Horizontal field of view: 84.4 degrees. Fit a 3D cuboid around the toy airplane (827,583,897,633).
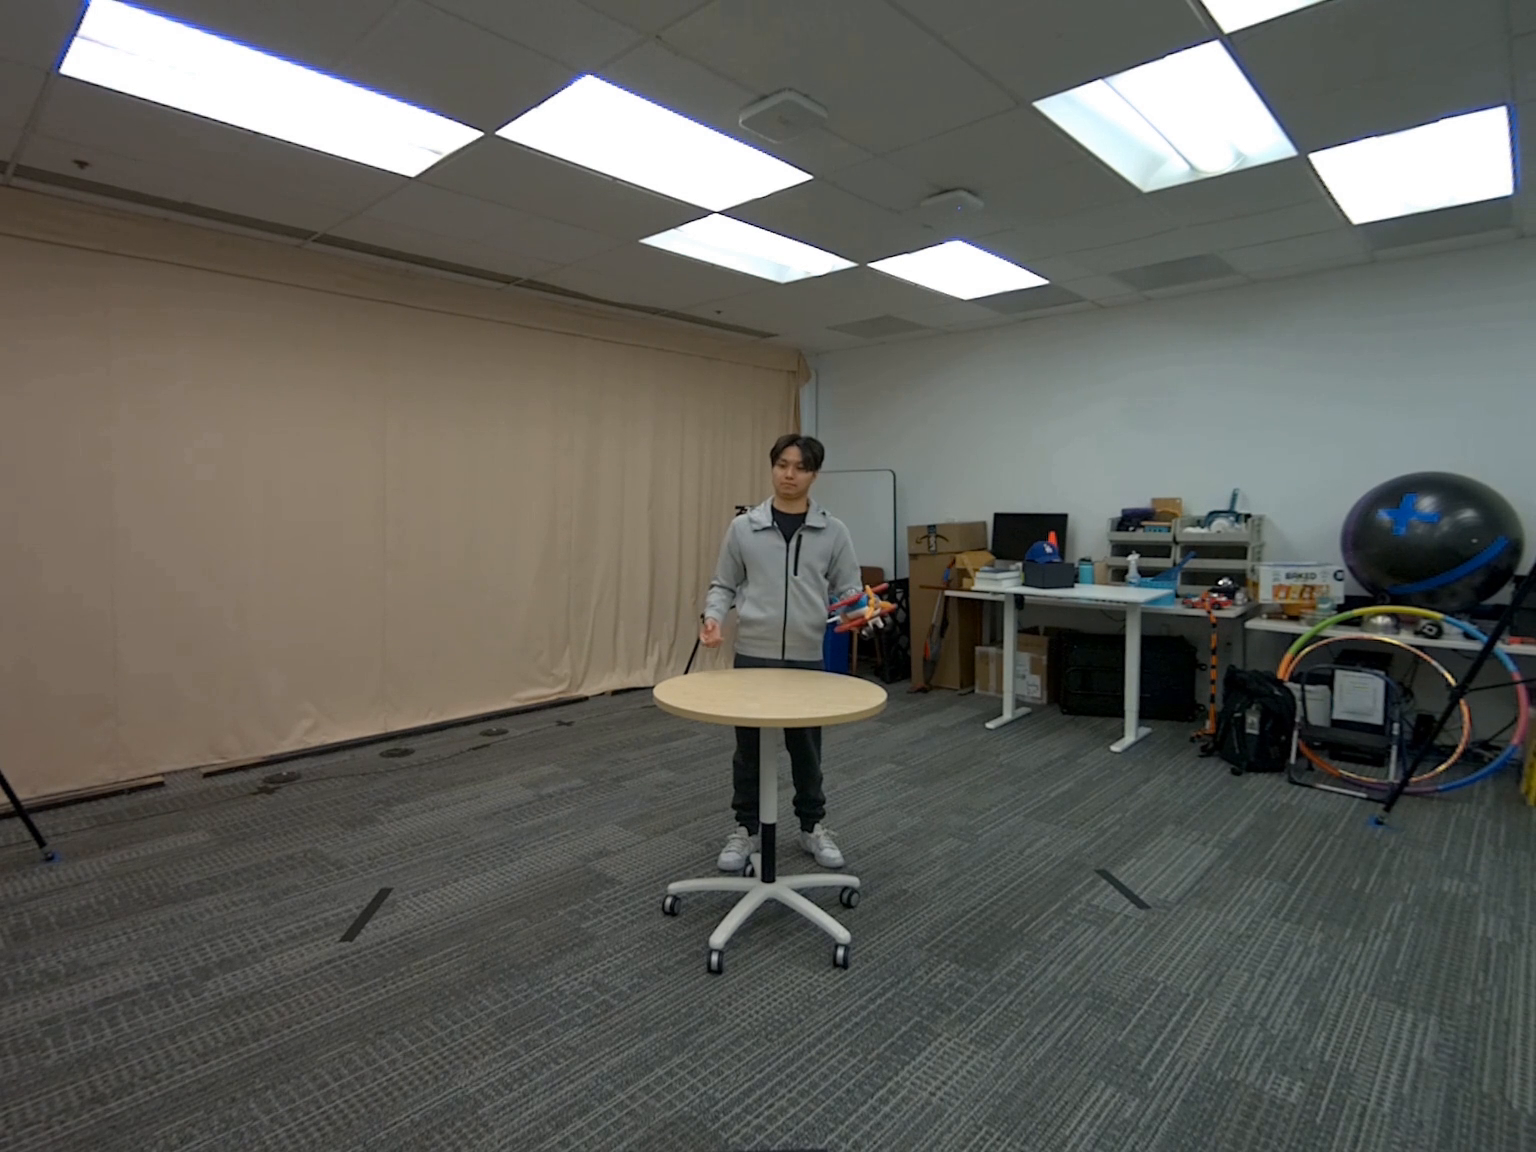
[{"bbox_3d":[0.297,0.126,2.970,0.266,0.155,0.246,-8,10,34],"label":"toy airplane"}]
